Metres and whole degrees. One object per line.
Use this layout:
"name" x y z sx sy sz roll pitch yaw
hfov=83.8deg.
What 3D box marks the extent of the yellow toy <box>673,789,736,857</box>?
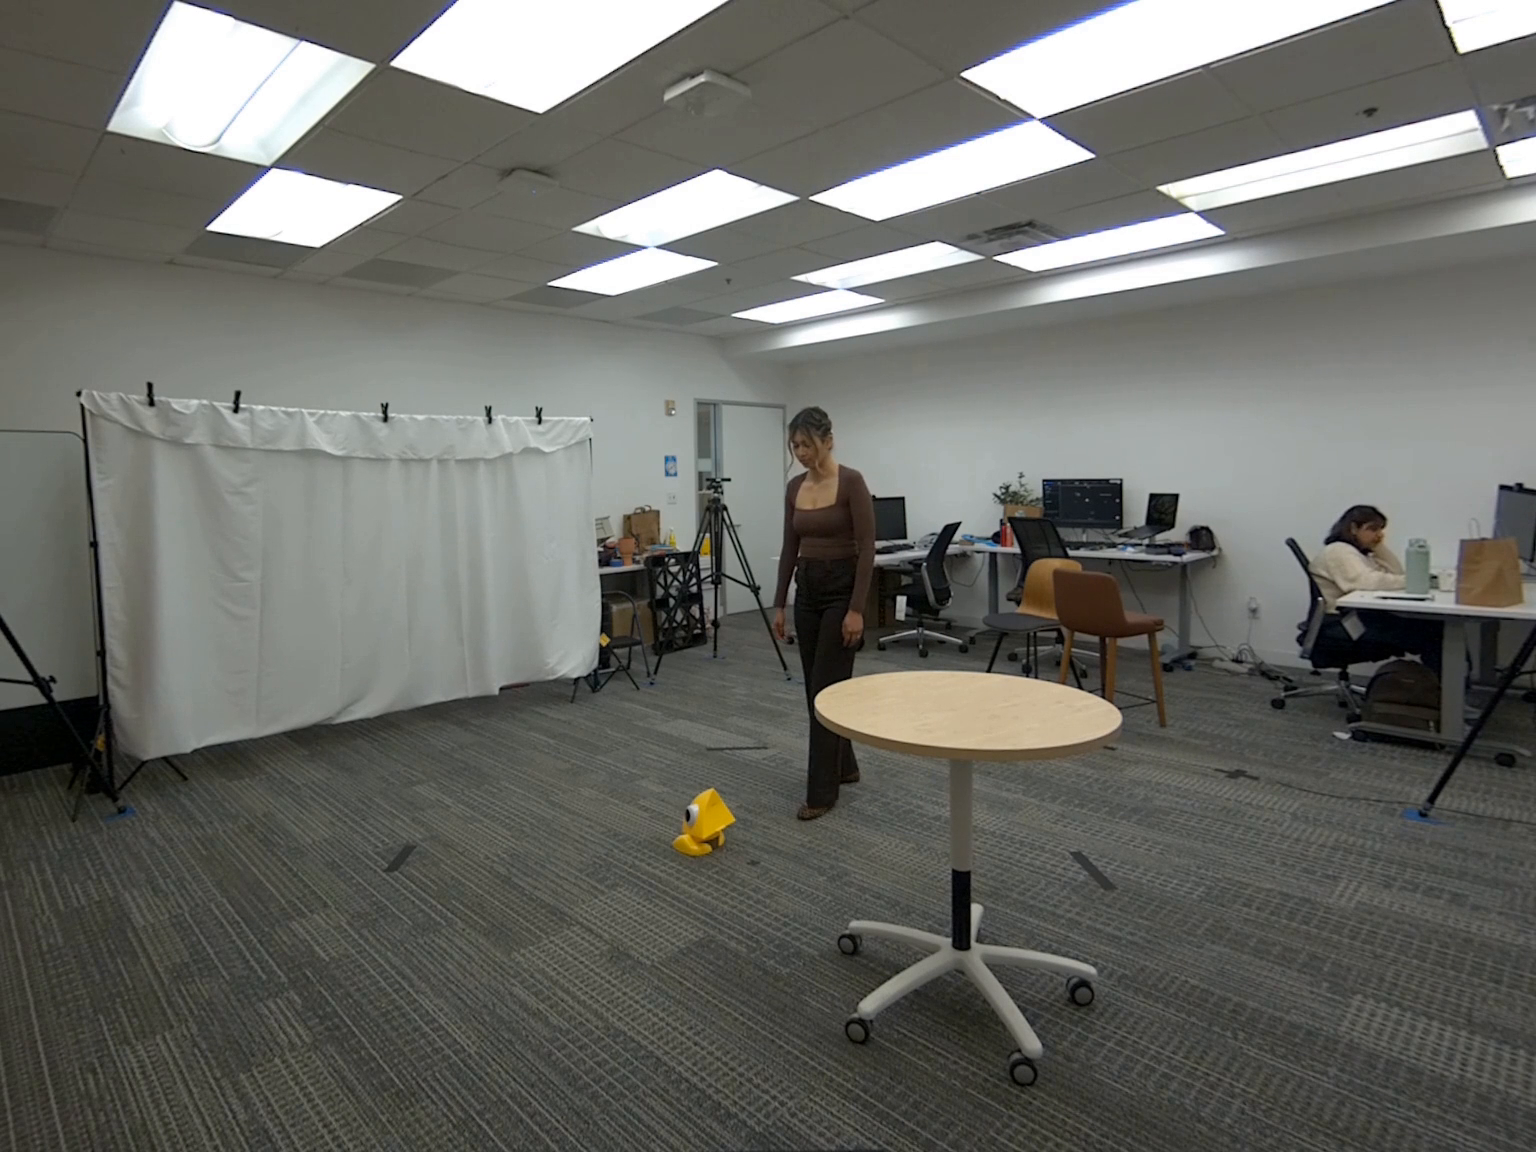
"yellow toy" -0.254 0.919 3.264 0.198 0.230 0.200 2 6 35
